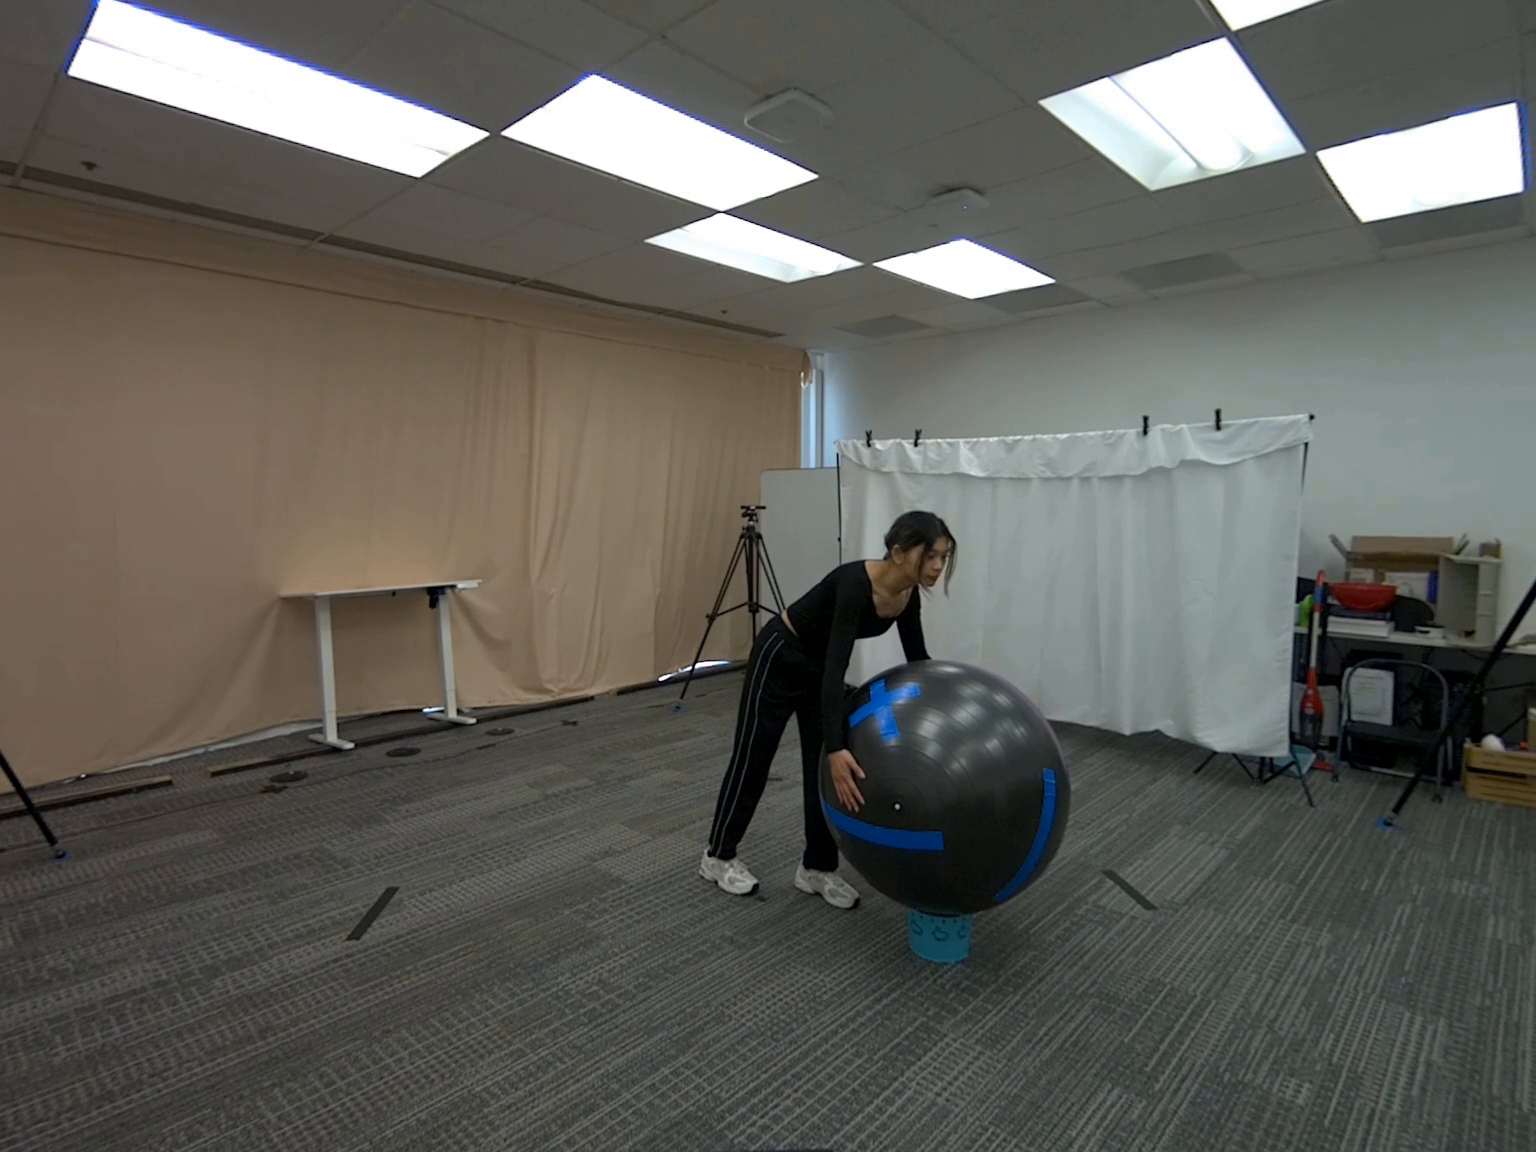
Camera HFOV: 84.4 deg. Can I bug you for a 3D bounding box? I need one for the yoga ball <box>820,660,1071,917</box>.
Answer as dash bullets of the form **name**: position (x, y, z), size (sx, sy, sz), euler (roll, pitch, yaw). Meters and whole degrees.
- **yoga ball**: position (0.551, 0.644, 2.632), size (0.757, 0.756, 0.760), euler (0, 4, -2)
